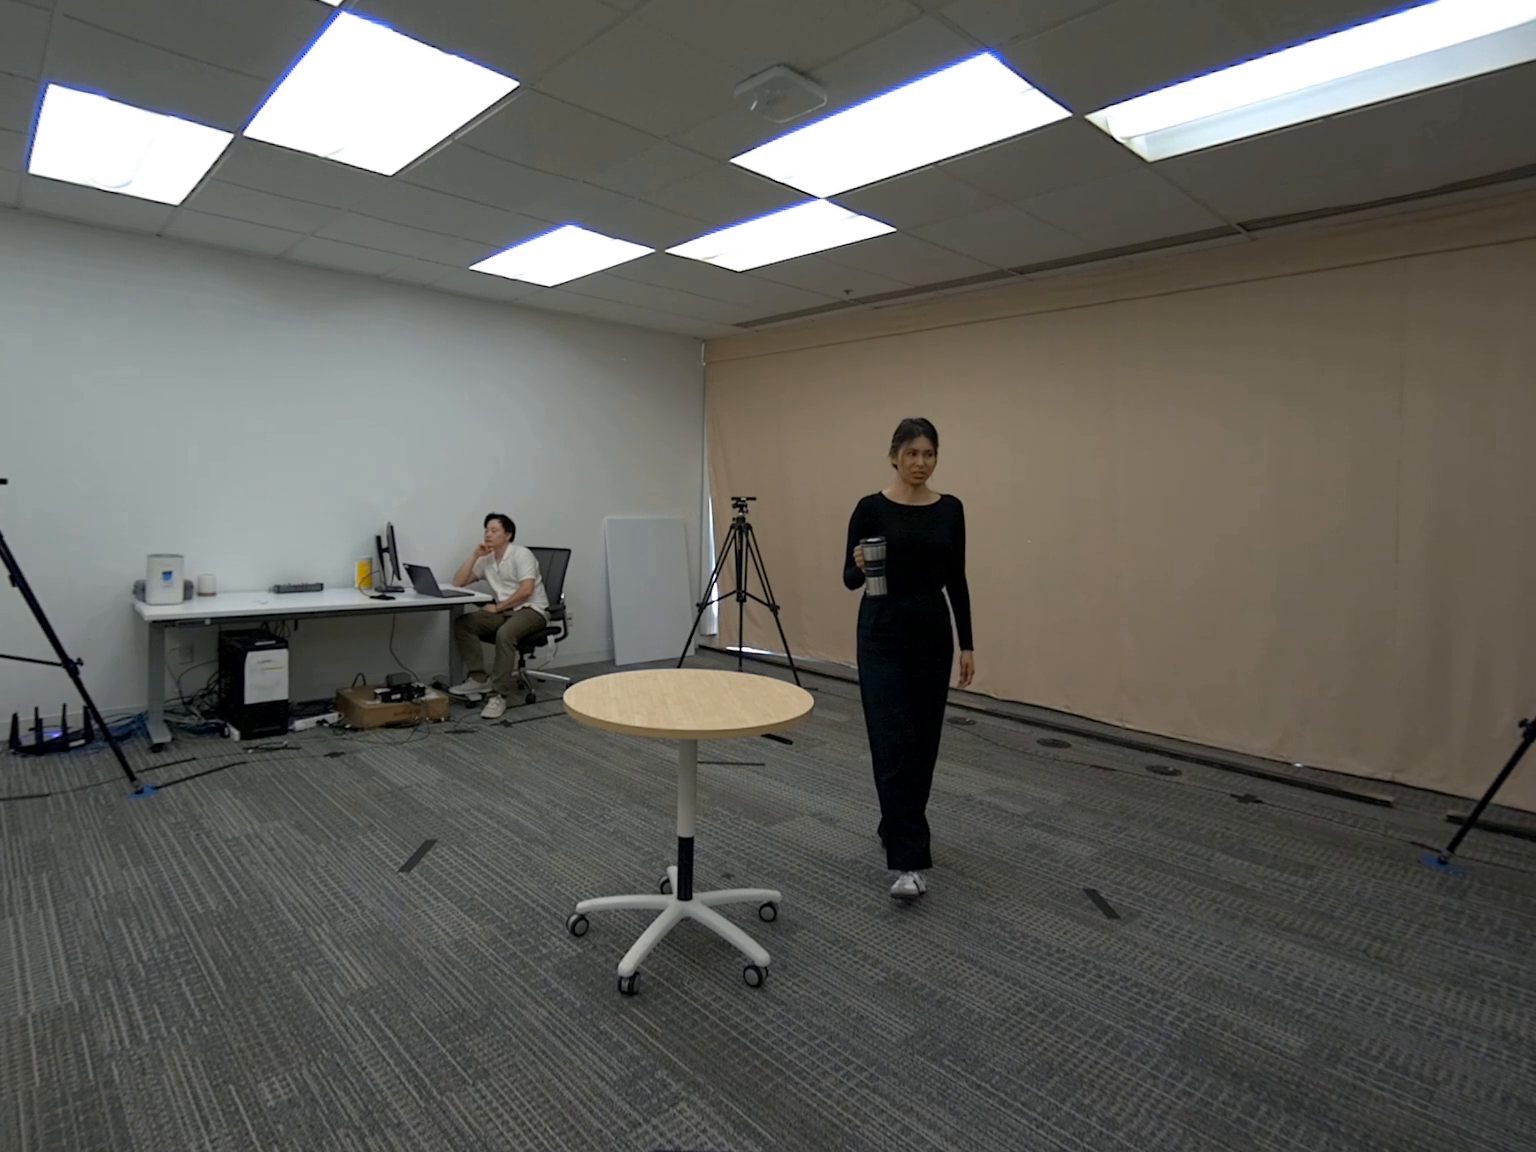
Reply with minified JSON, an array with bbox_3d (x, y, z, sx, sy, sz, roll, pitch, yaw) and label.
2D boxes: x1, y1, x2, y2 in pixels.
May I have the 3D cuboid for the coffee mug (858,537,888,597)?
[{"bbox_3d":[0.373,-0.034,2.919,0.089,0.201,0.121,-6,9,23],"label":"coffee mug"}]
